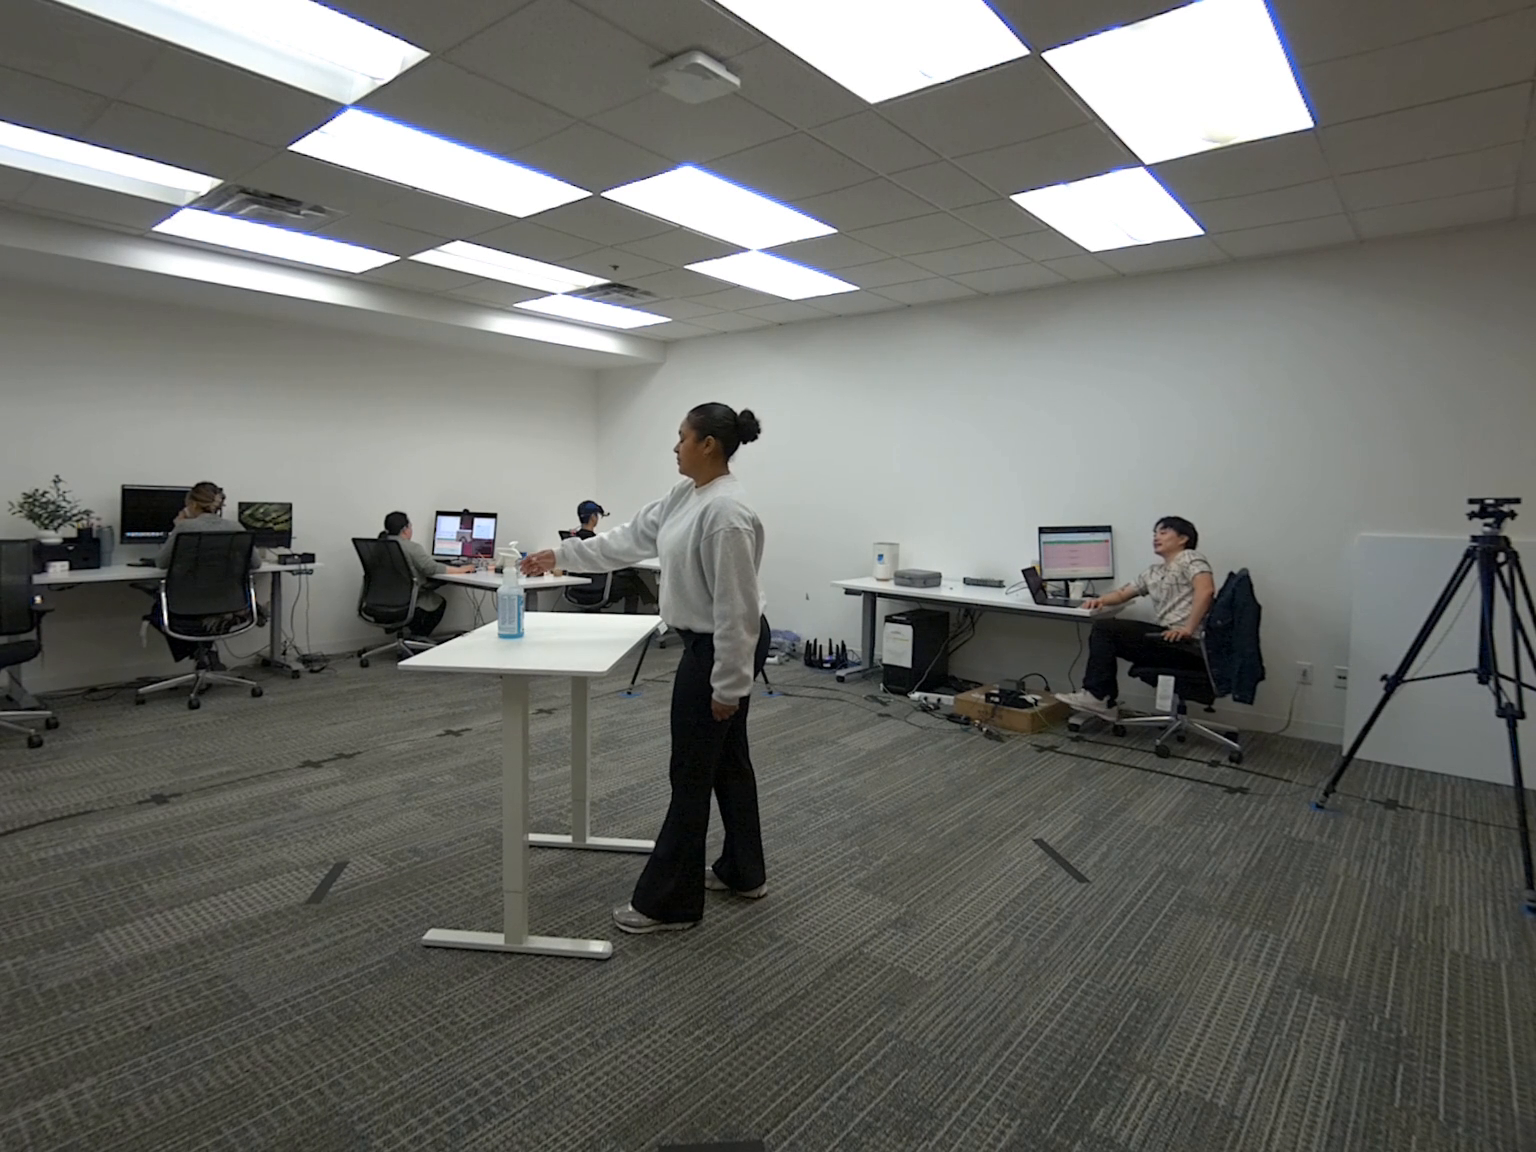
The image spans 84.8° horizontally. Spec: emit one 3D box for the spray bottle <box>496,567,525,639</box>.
[{"bbox_3d":[-0.875,0.056,2.850,0.093,0.297,0.084,-1,2,34],"label":"spray bottle"}]
